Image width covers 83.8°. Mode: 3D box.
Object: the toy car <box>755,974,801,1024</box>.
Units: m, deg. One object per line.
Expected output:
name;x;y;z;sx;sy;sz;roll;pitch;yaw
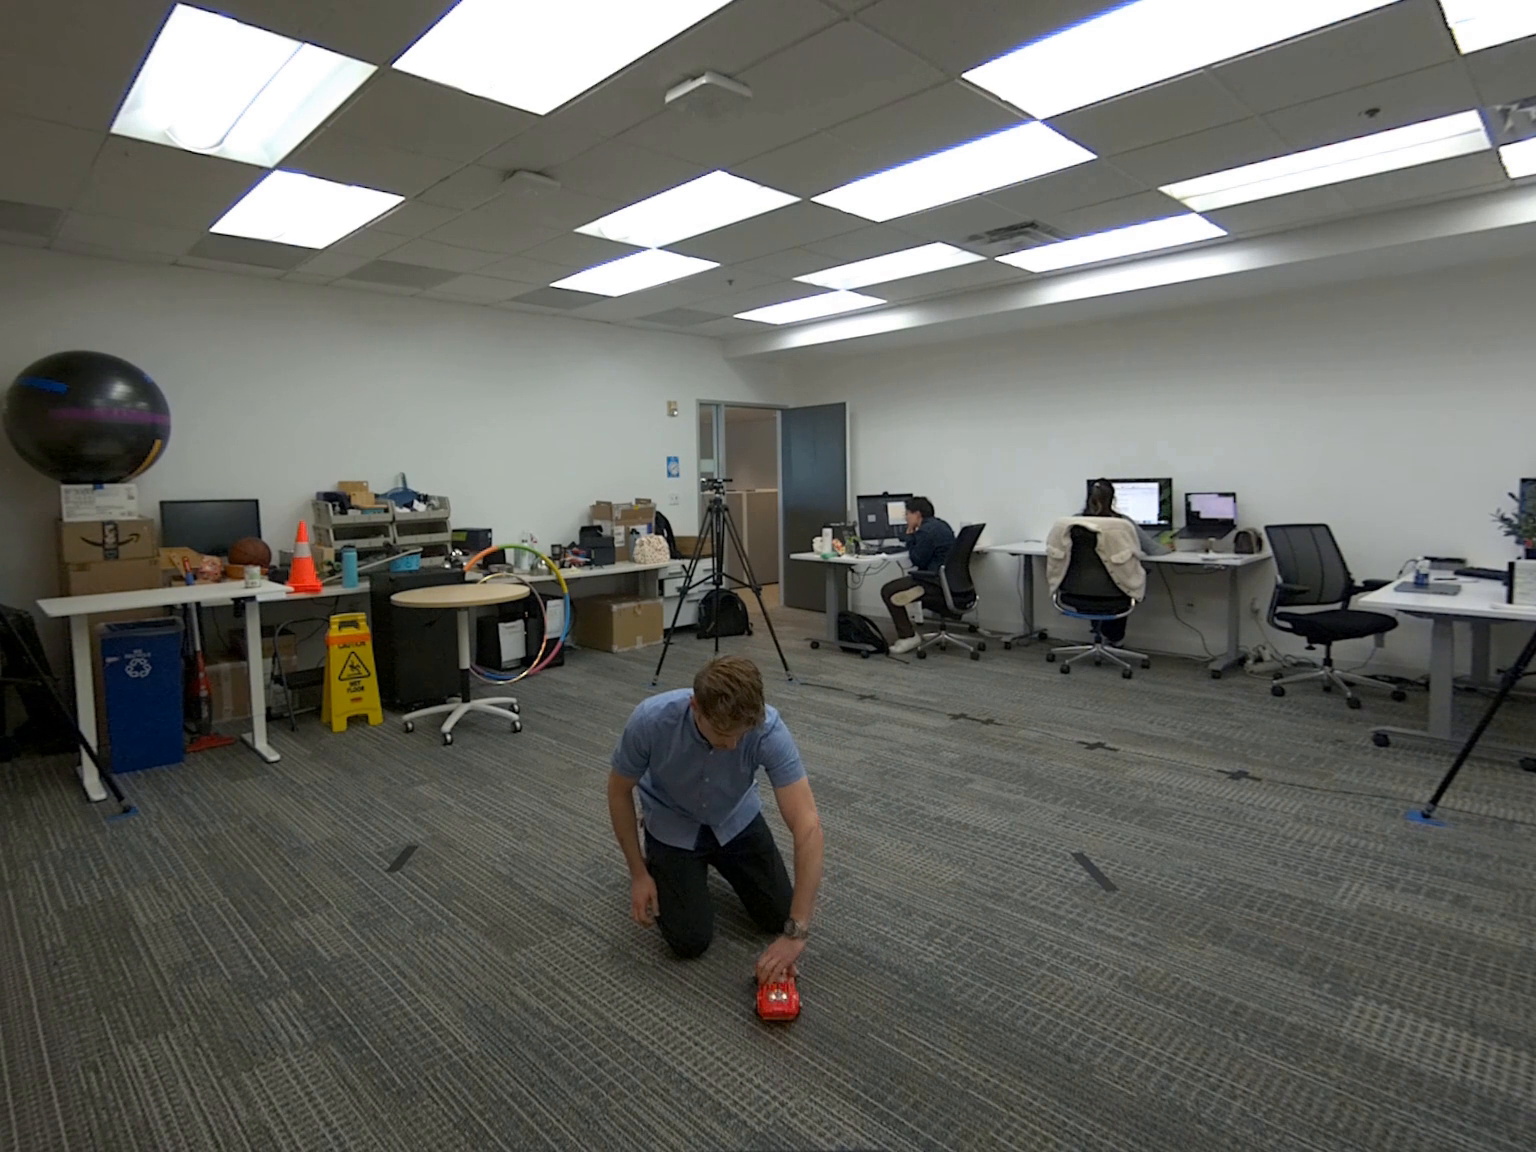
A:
toy car;0.033;1.114;2.272;0.130;0.084;0.252;-1;-6;1
